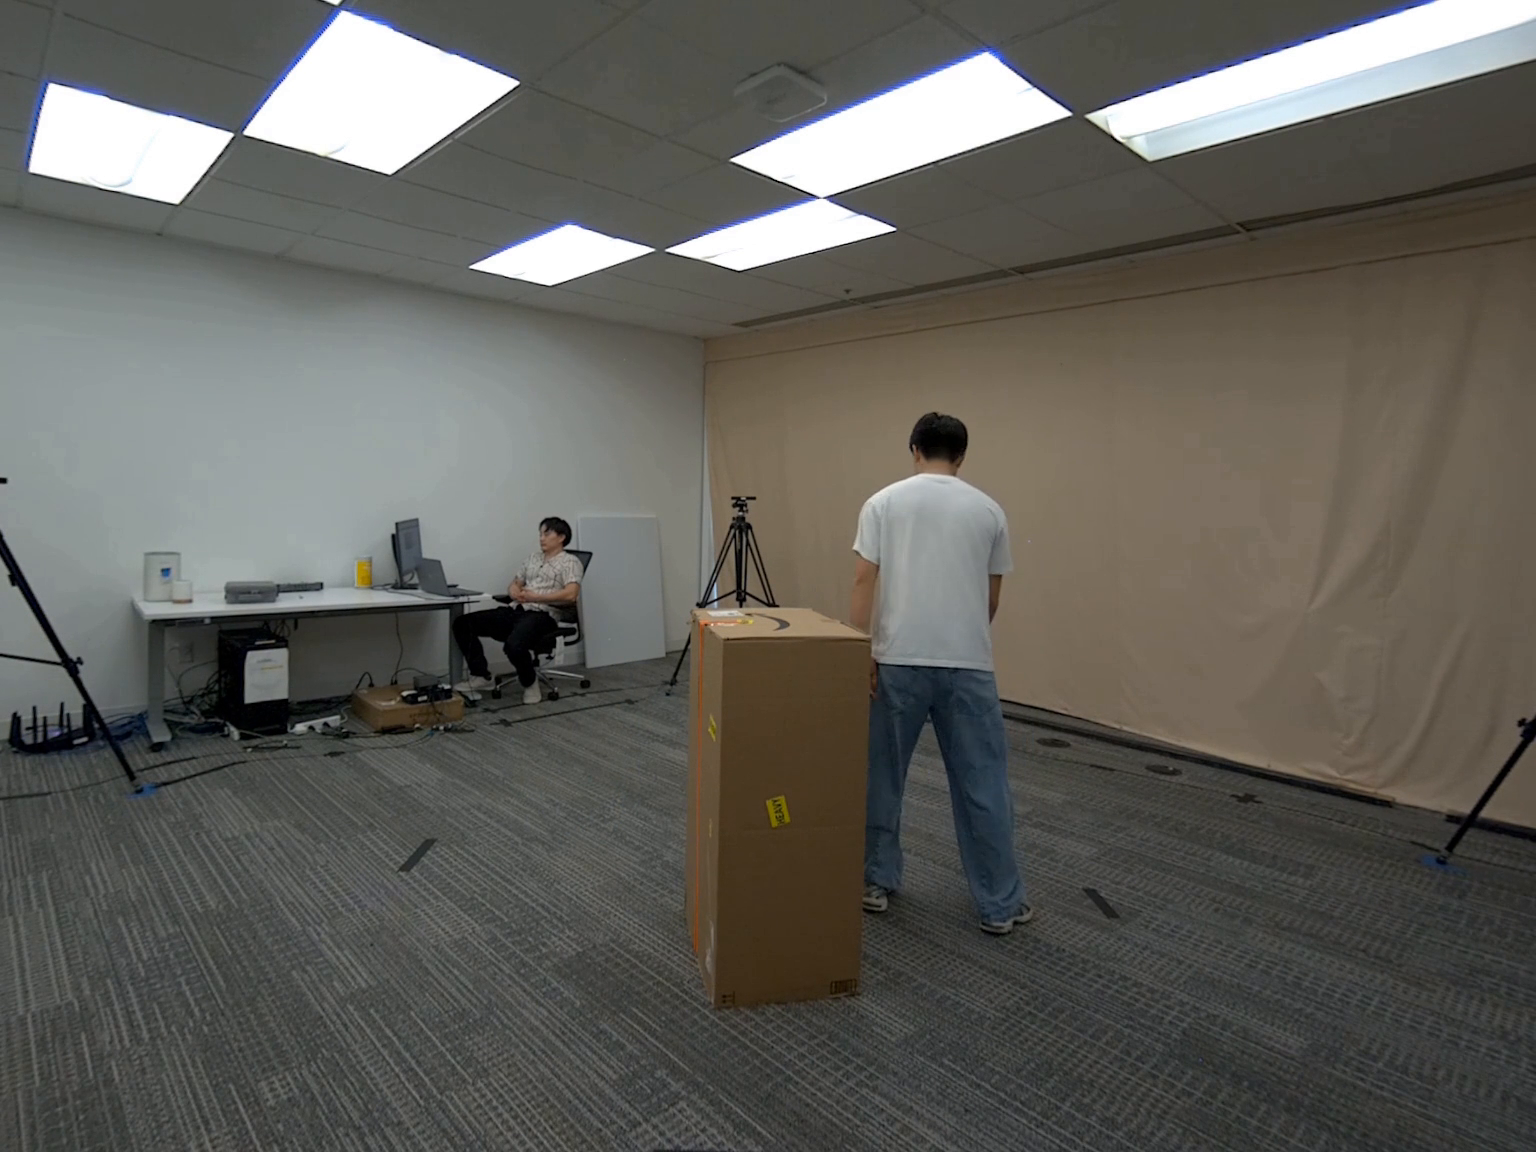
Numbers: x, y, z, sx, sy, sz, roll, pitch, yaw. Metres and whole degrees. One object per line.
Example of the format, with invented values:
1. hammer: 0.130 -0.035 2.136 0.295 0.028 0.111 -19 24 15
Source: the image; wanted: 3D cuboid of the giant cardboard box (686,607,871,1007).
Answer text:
1. giant cardboard box: -0.005 0.650 2.573 0.421 1.023 0.585 1 4 -15
